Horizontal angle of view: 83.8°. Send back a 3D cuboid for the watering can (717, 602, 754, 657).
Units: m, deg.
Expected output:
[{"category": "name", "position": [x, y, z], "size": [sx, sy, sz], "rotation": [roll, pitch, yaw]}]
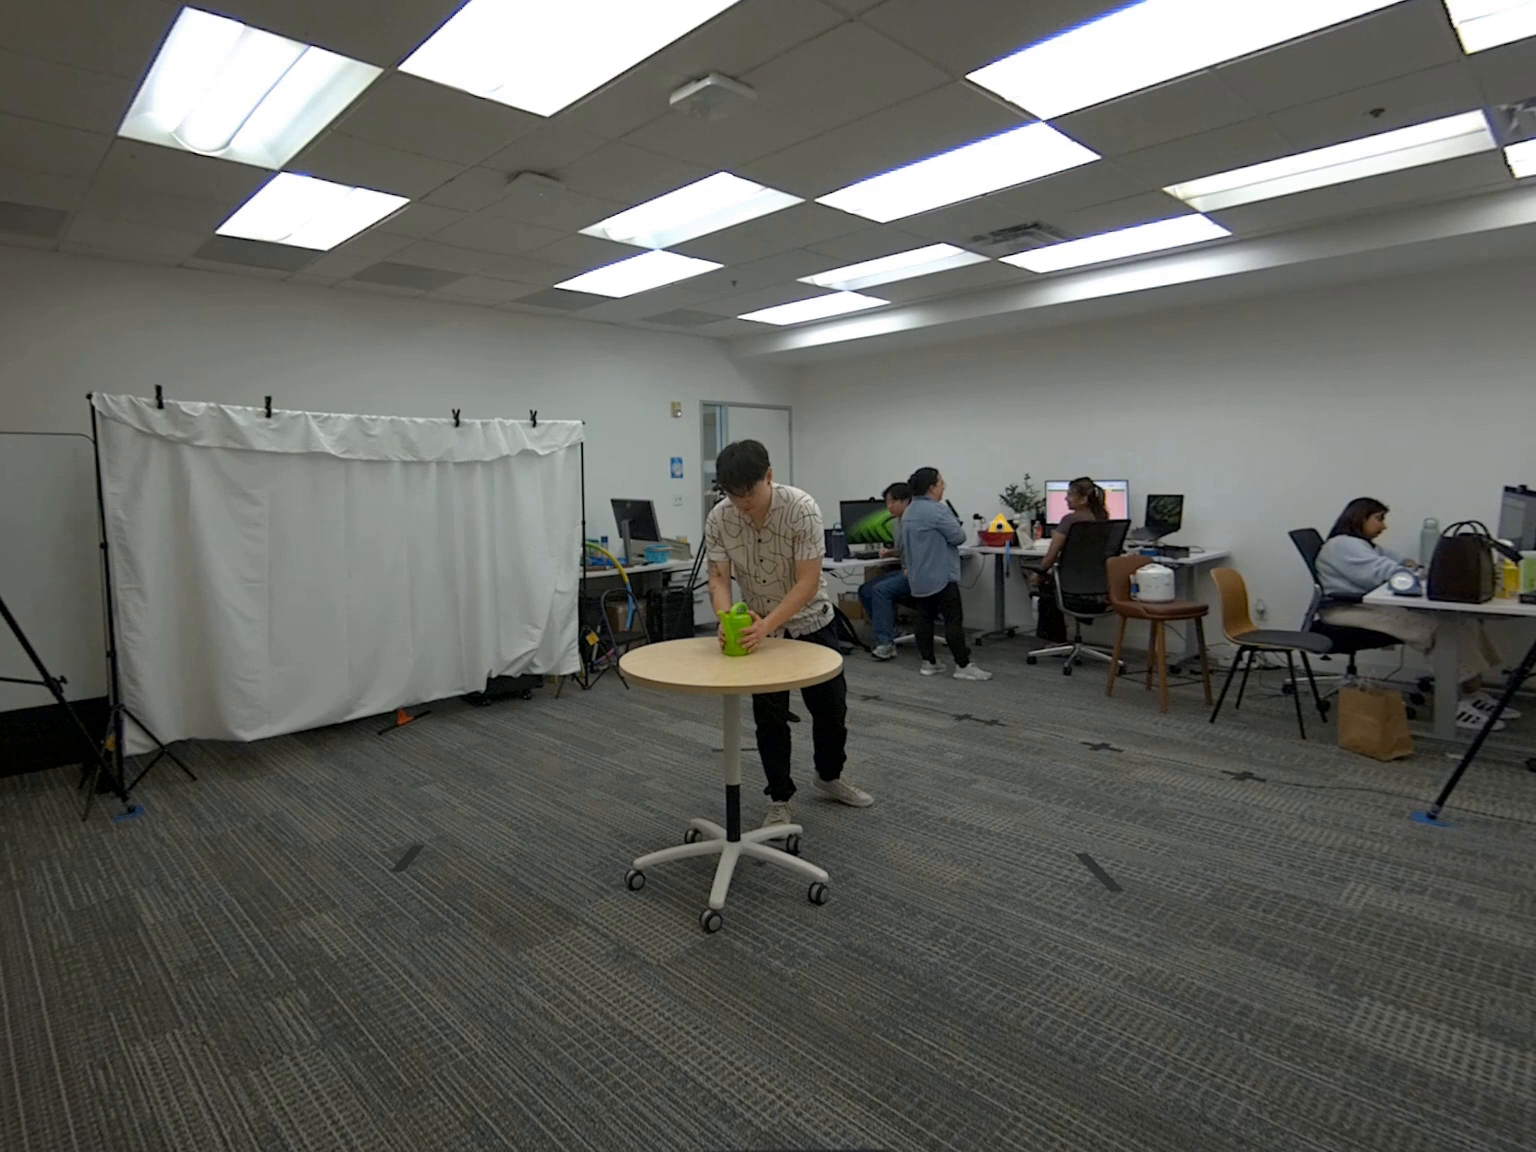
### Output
[{"category": "watering can", "position": [-0.126, 0.195, 2.983], "size": [0.100, 0.176, 0.274], "rotation": [2, 5, 20]}]
